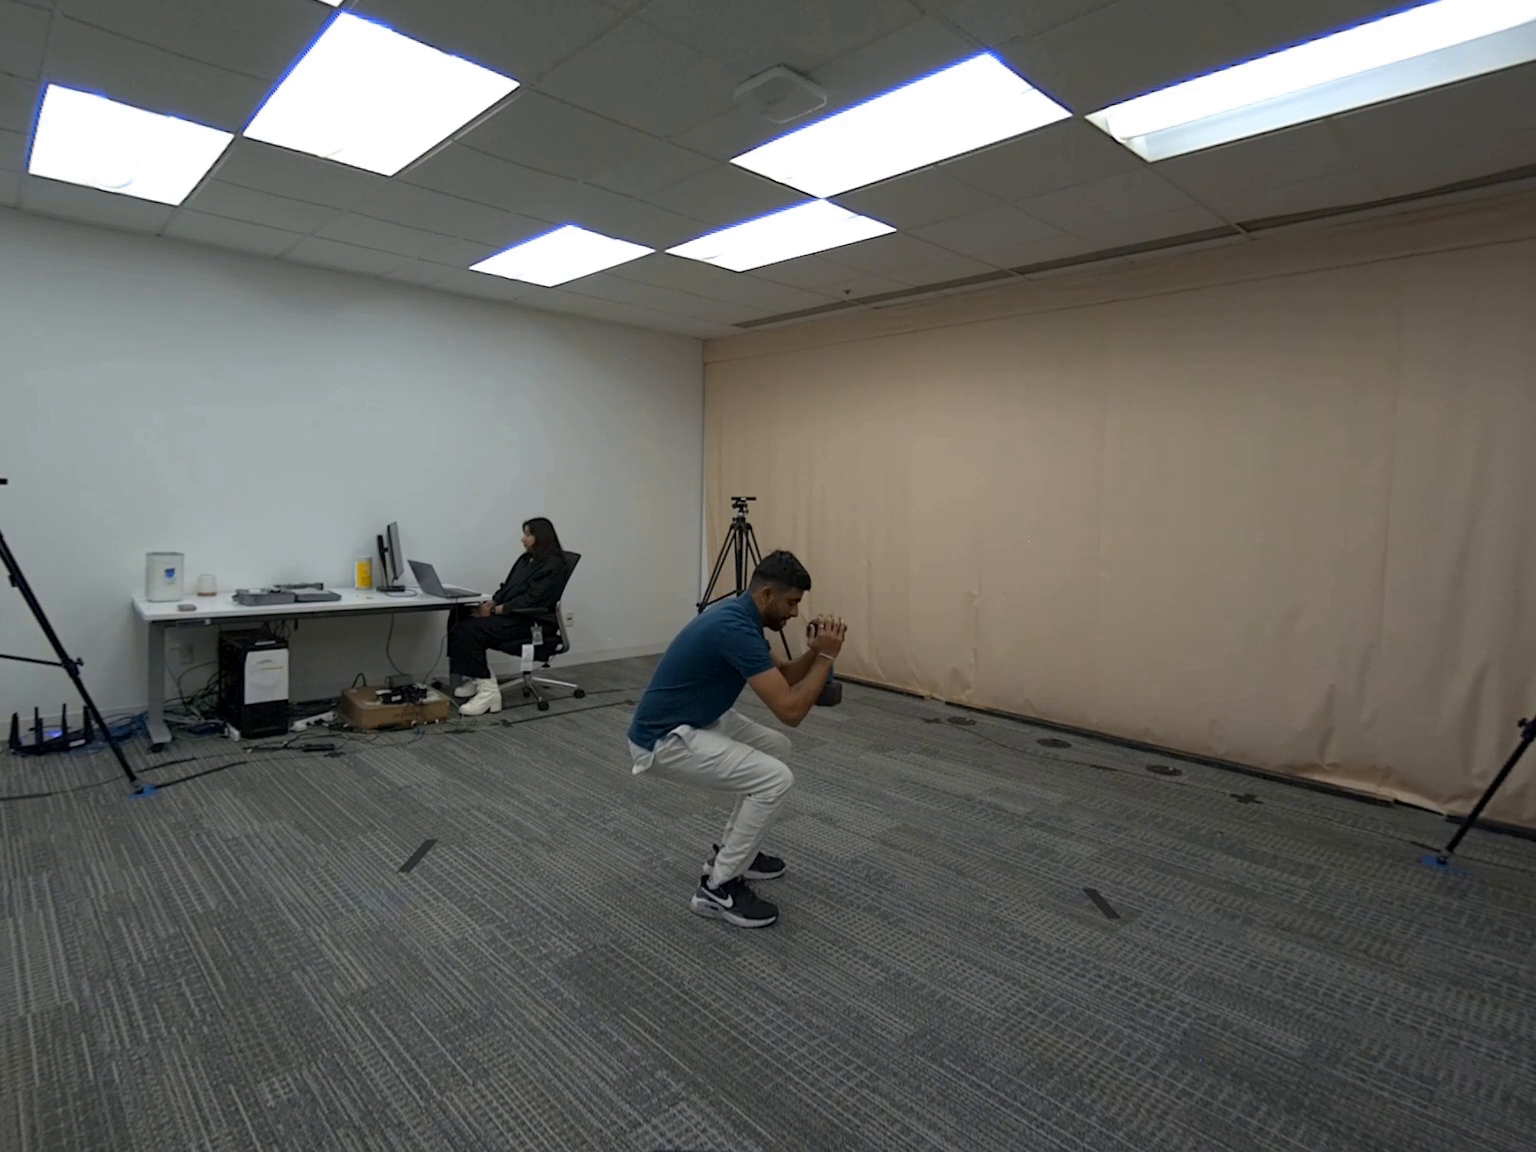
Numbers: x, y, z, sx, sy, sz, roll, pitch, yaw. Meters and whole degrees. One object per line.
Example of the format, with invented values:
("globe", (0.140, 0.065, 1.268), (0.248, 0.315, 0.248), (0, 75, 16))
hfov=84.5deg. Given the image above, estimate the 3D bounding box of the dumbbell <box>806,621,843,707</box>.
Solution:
("dumbbell", (0.190, 0.291, 2.903), (0.123, 0.293, 0.108), (-2, 1, 4))
